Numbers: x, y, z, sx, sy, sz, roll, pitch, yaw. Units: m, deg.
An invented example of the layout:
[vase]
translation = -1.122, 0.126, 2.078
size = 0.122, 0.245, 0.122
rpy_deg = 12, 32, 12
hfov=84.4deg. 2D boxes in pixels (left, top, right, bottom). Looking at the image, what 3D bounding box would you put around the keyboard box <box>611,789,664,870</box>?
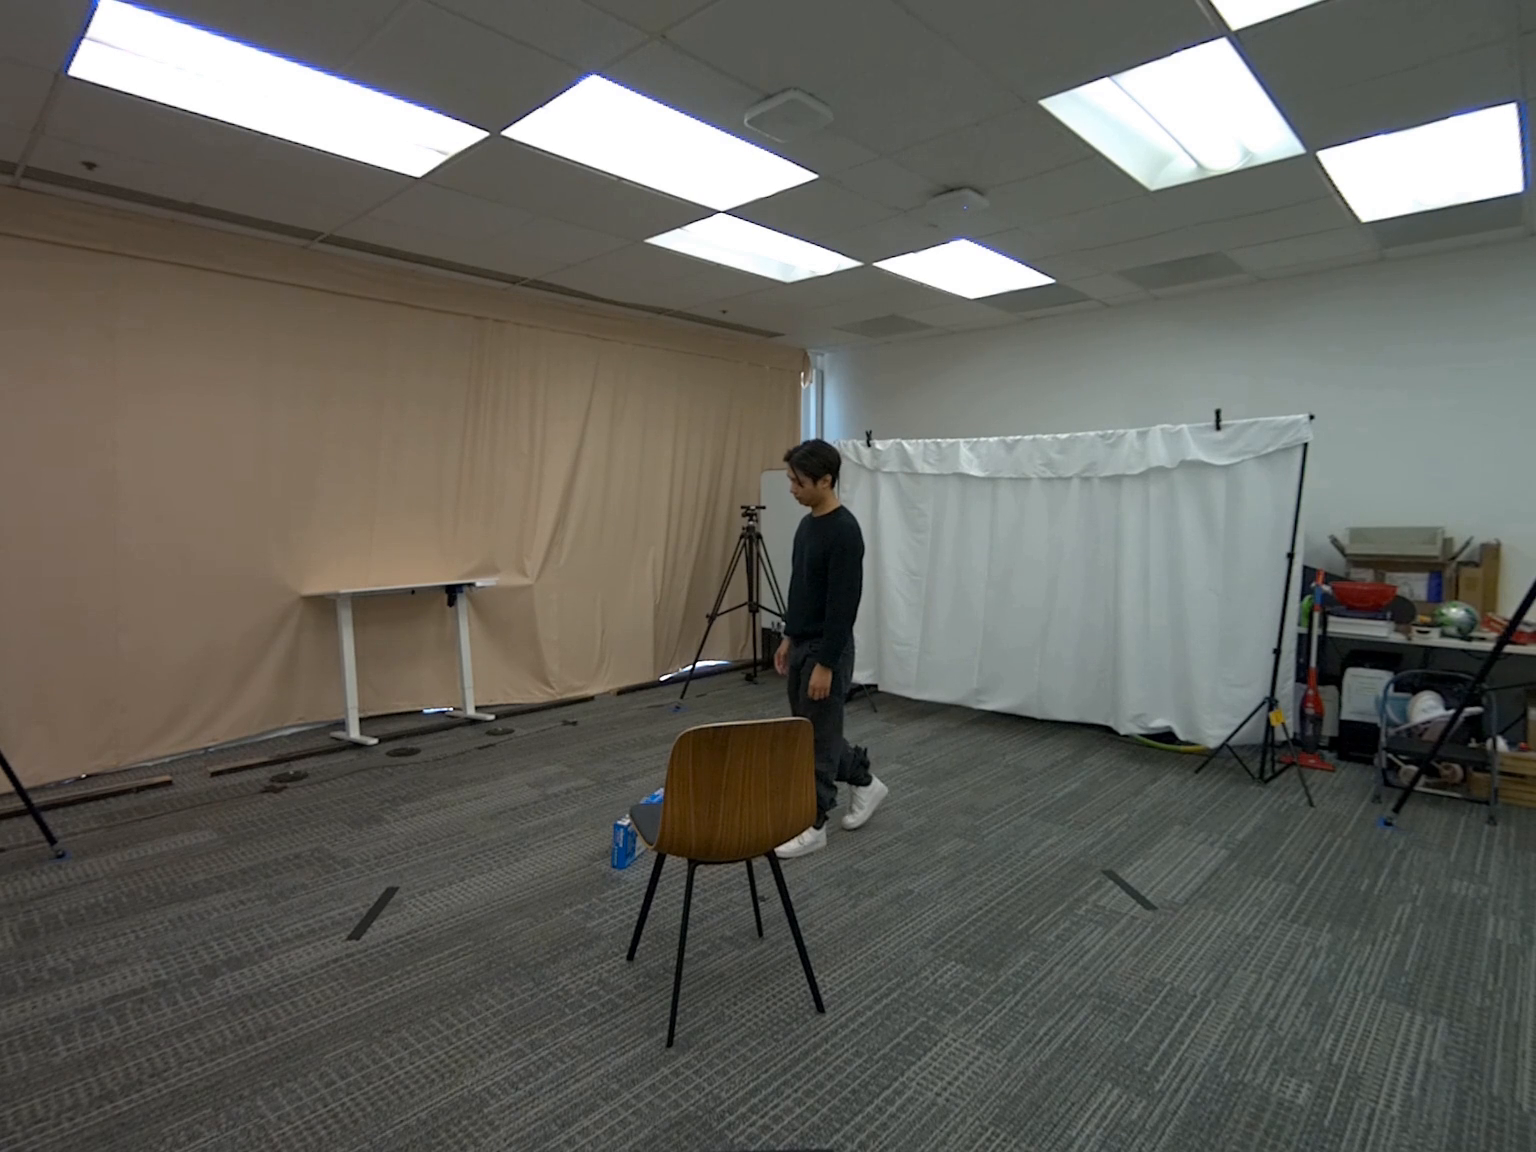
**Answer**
[keyboard box]
translation = -0.508, 1.020, 3.438
size = 0.060, 0.175, 0.429
rpy_deg = 6, 6, 17
